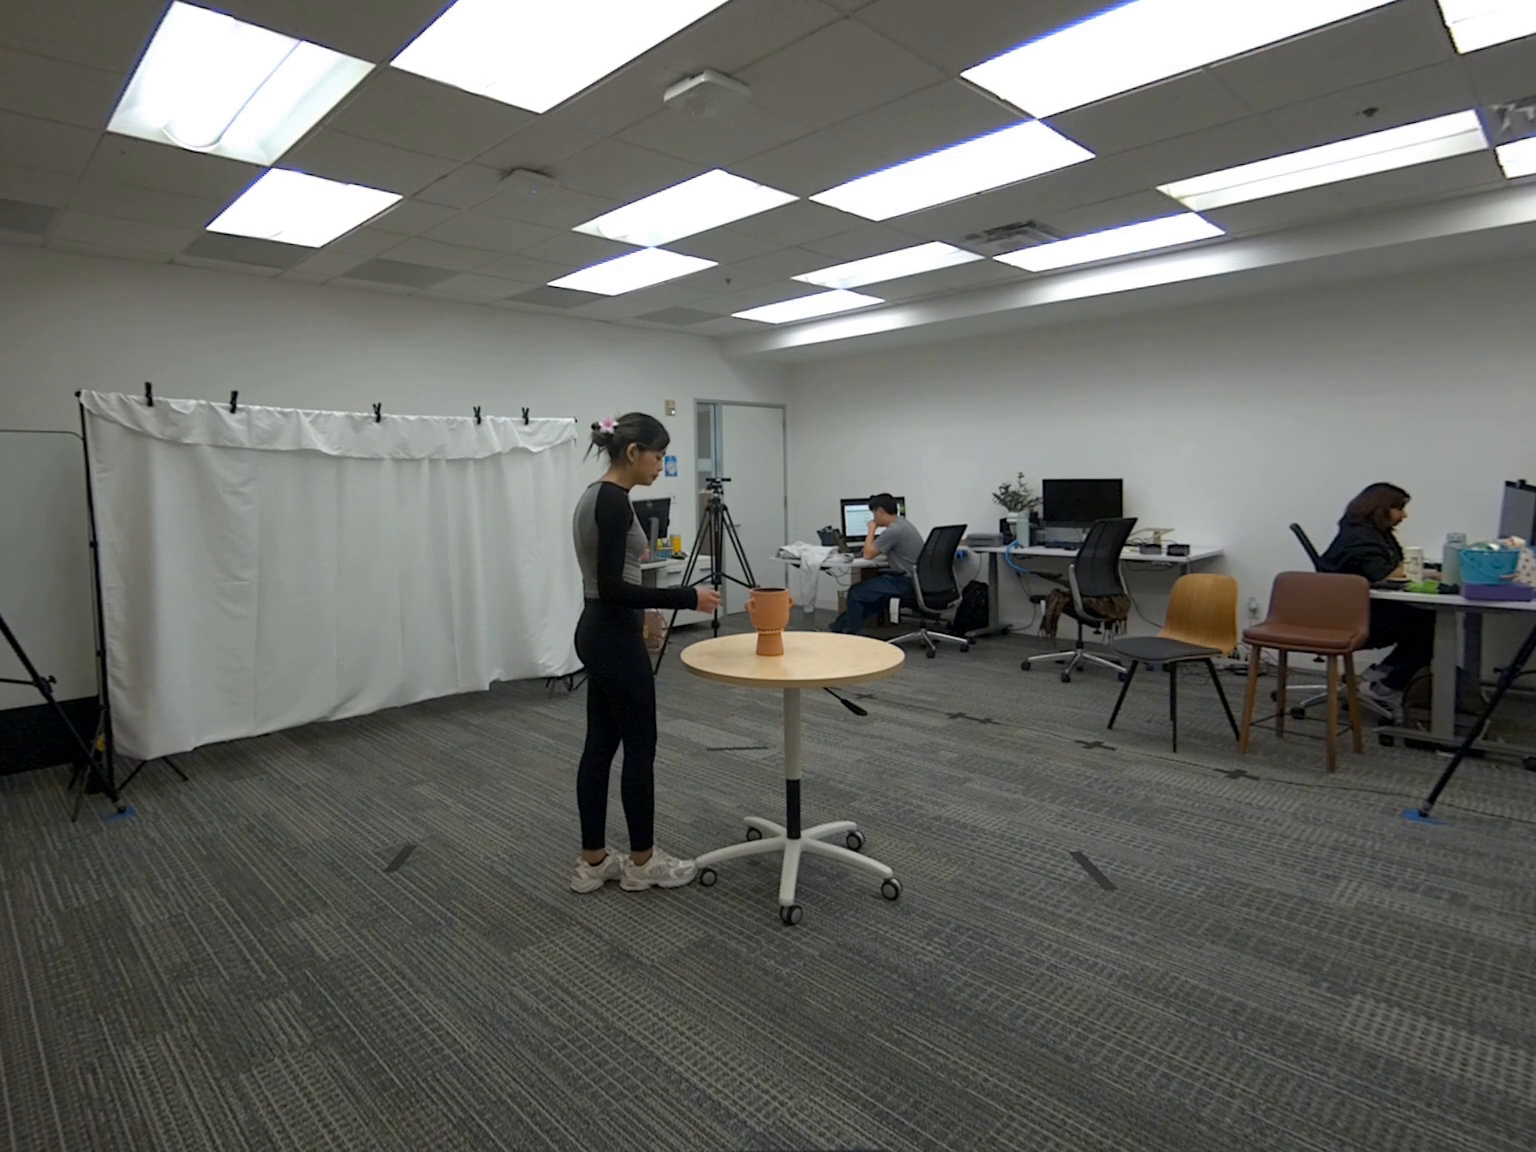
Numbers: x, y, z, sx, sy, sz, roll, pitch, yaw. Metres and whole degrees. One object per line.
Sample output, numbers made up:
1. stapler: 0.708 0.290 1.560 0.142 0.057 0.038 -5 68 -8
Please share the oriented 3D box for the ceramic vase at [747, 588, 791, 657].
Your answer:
1. ceramic vase: 0.004 0.155 2.937 0.160 0.219 0.134 0 4 6
